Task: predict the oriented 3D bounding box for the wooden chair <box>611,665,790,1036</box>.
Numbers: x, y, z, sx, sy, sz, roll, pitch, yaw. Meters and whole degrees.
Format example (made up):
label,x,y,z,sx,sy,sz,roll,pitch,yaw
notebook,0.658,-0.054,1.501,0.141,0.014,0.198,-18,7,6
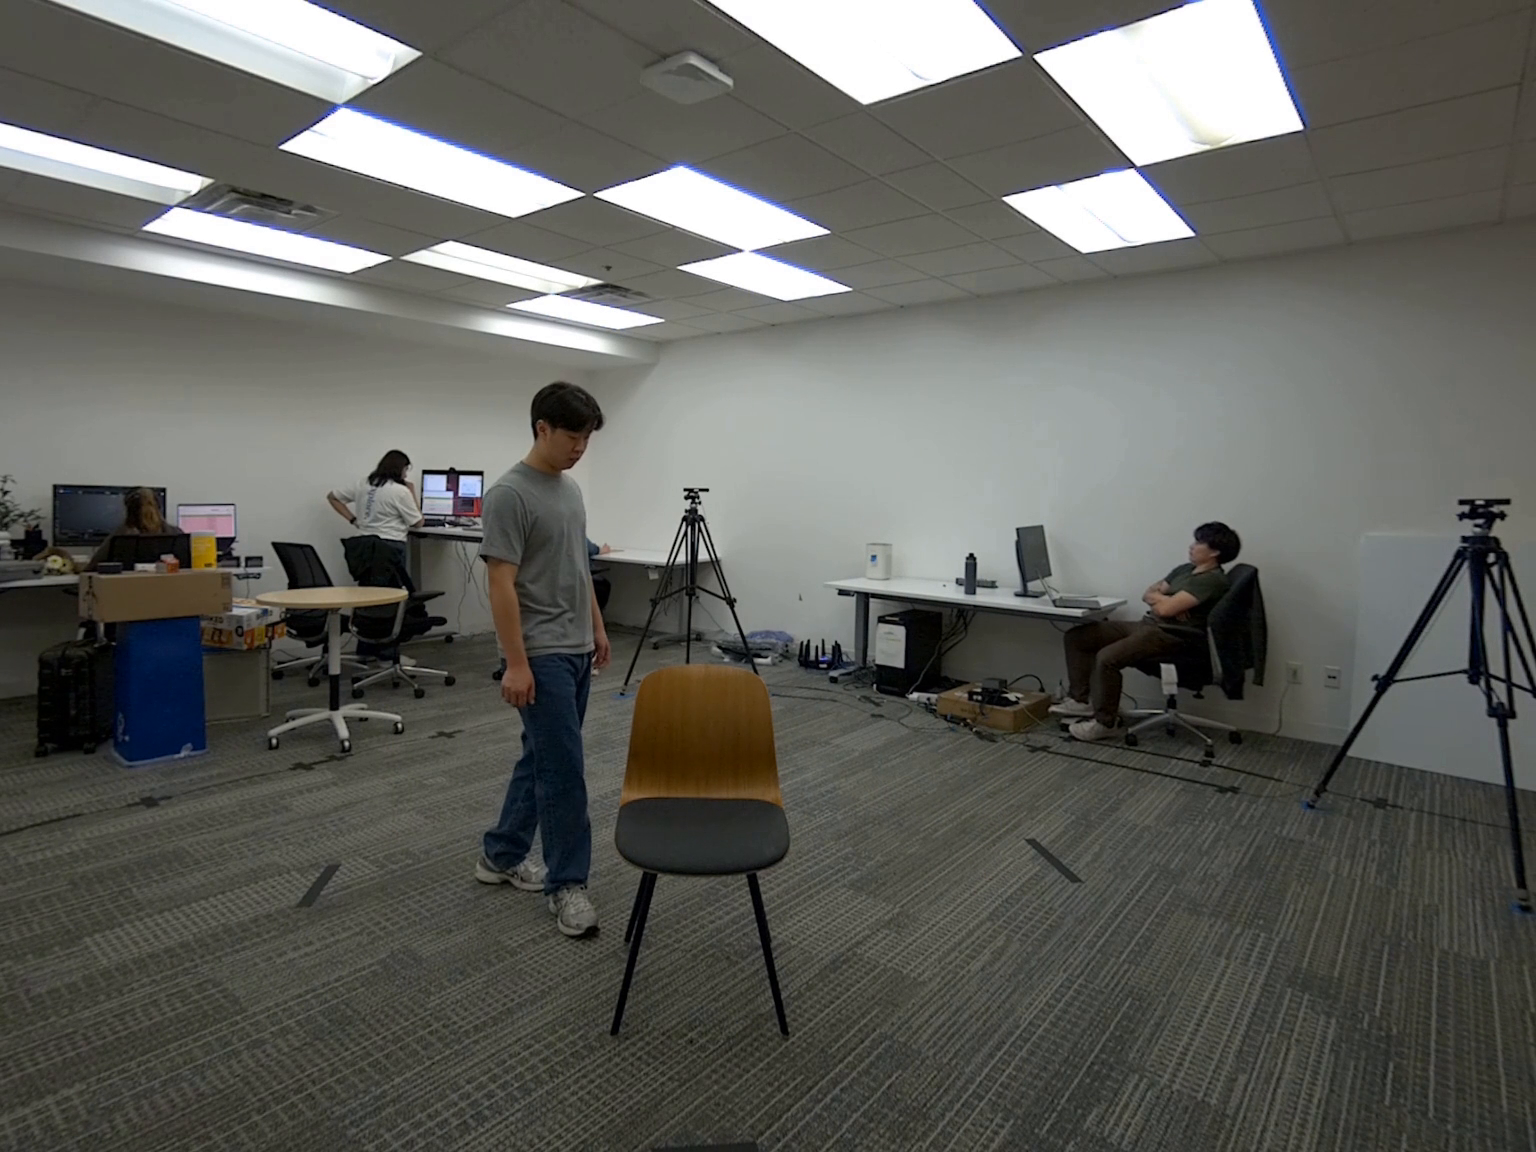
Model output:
label,x,y,z,sx,sy,sz,roll,pitch,yaw
wooden chair,-0.183,0.722,2.344,0.476,0.878,0.525,1,0,-5
